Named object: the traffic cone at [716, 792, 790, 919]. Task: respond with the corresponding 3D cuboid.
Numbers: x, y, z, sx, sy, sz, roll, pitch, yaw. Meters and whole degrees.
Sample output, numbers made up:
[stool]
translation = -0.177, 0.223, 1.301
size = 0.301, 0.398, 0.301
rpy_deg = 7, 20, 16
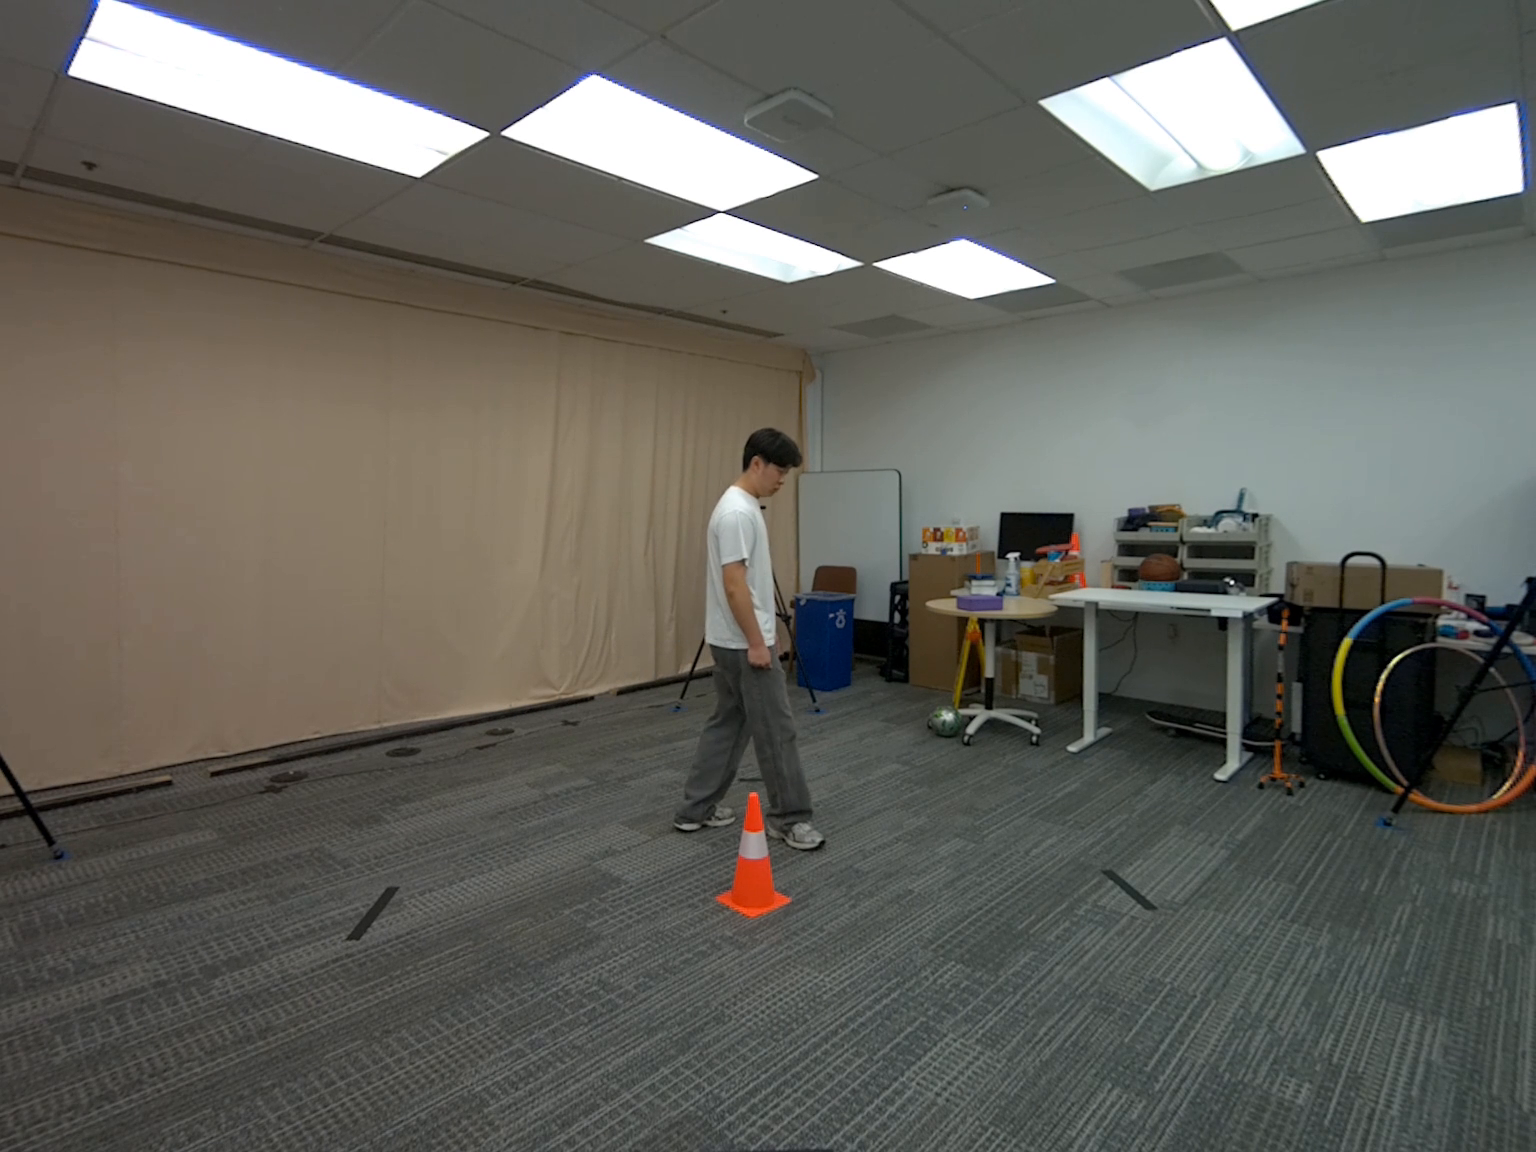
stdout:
[traffic cone]
translation = -0.042, 0.955, 2.971
size = 0.210, 0.382, 0.199
rpy_deg = 6, 6, 43
